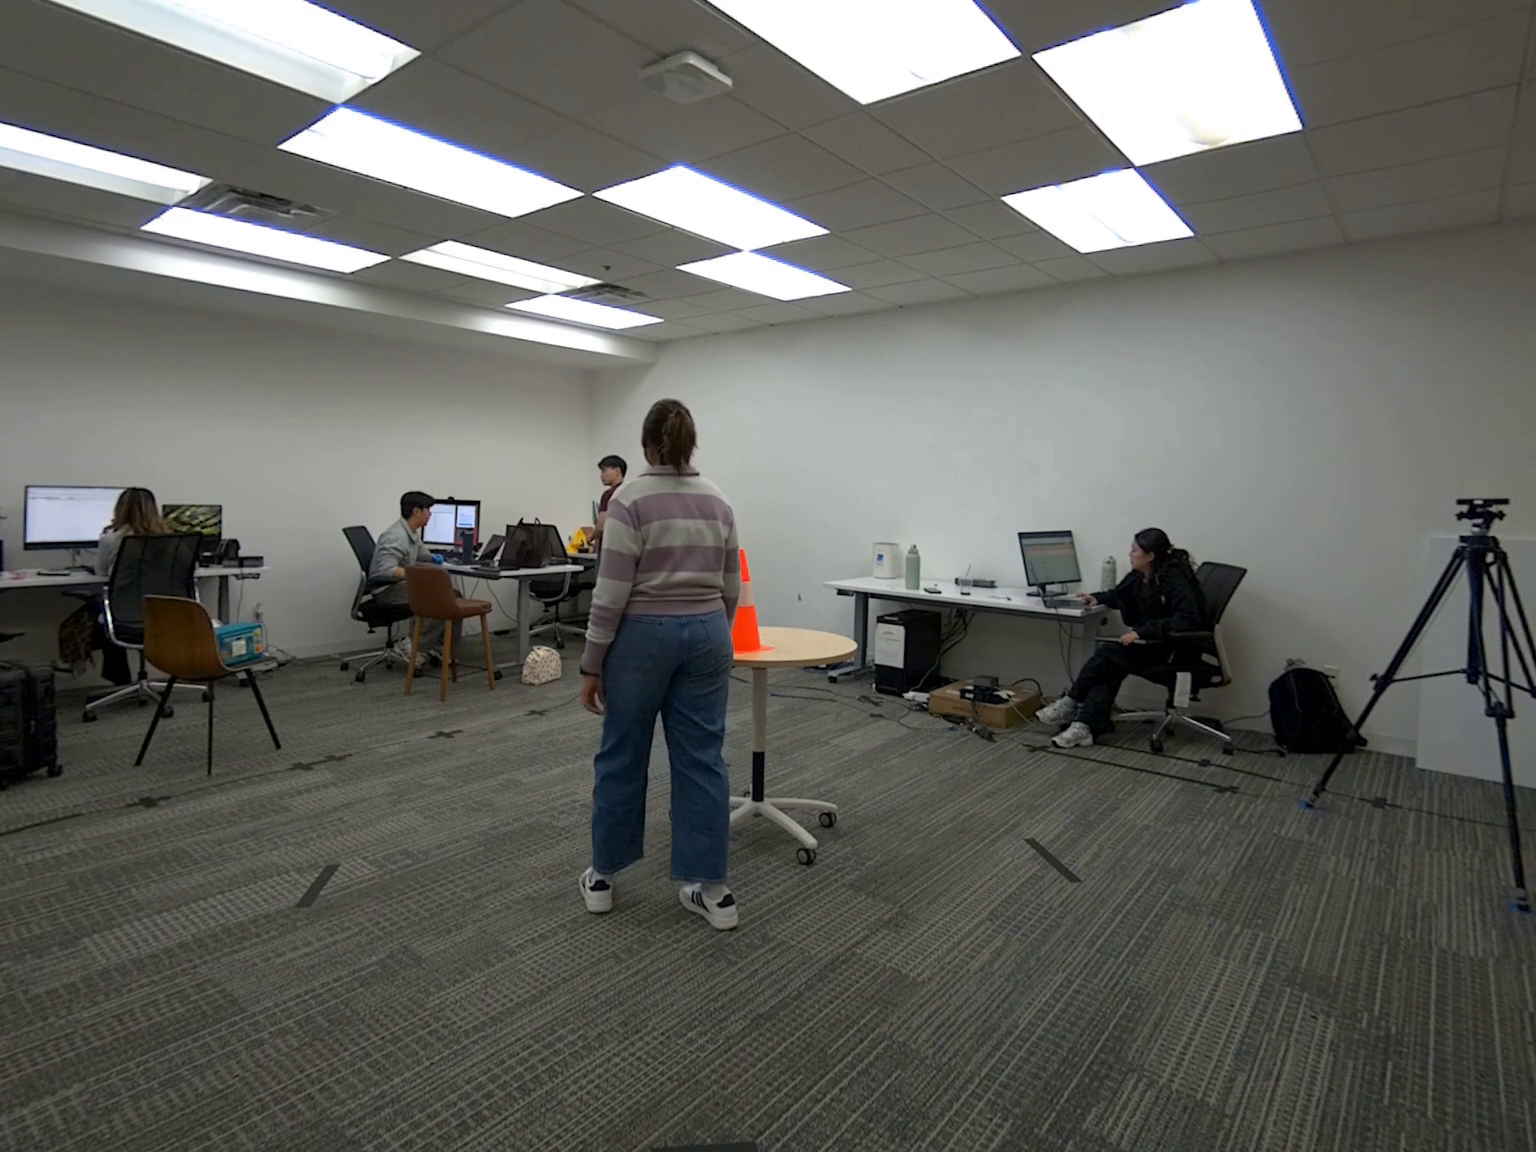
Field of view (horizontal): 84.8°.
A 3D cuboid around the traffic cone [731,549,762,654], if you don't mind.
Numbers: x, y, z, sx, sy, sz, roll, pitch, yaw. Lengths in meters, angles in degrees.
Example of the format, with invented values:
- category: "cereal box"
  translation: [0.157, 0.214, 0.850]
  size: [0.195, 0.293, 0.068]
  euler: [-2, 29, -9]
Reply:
- category: "traffic cone"
  translation: [-0.108, 0.086, 3.263]
  size: [0.209, 0.382, 0.200]
  euler: [5, 5, 28]
